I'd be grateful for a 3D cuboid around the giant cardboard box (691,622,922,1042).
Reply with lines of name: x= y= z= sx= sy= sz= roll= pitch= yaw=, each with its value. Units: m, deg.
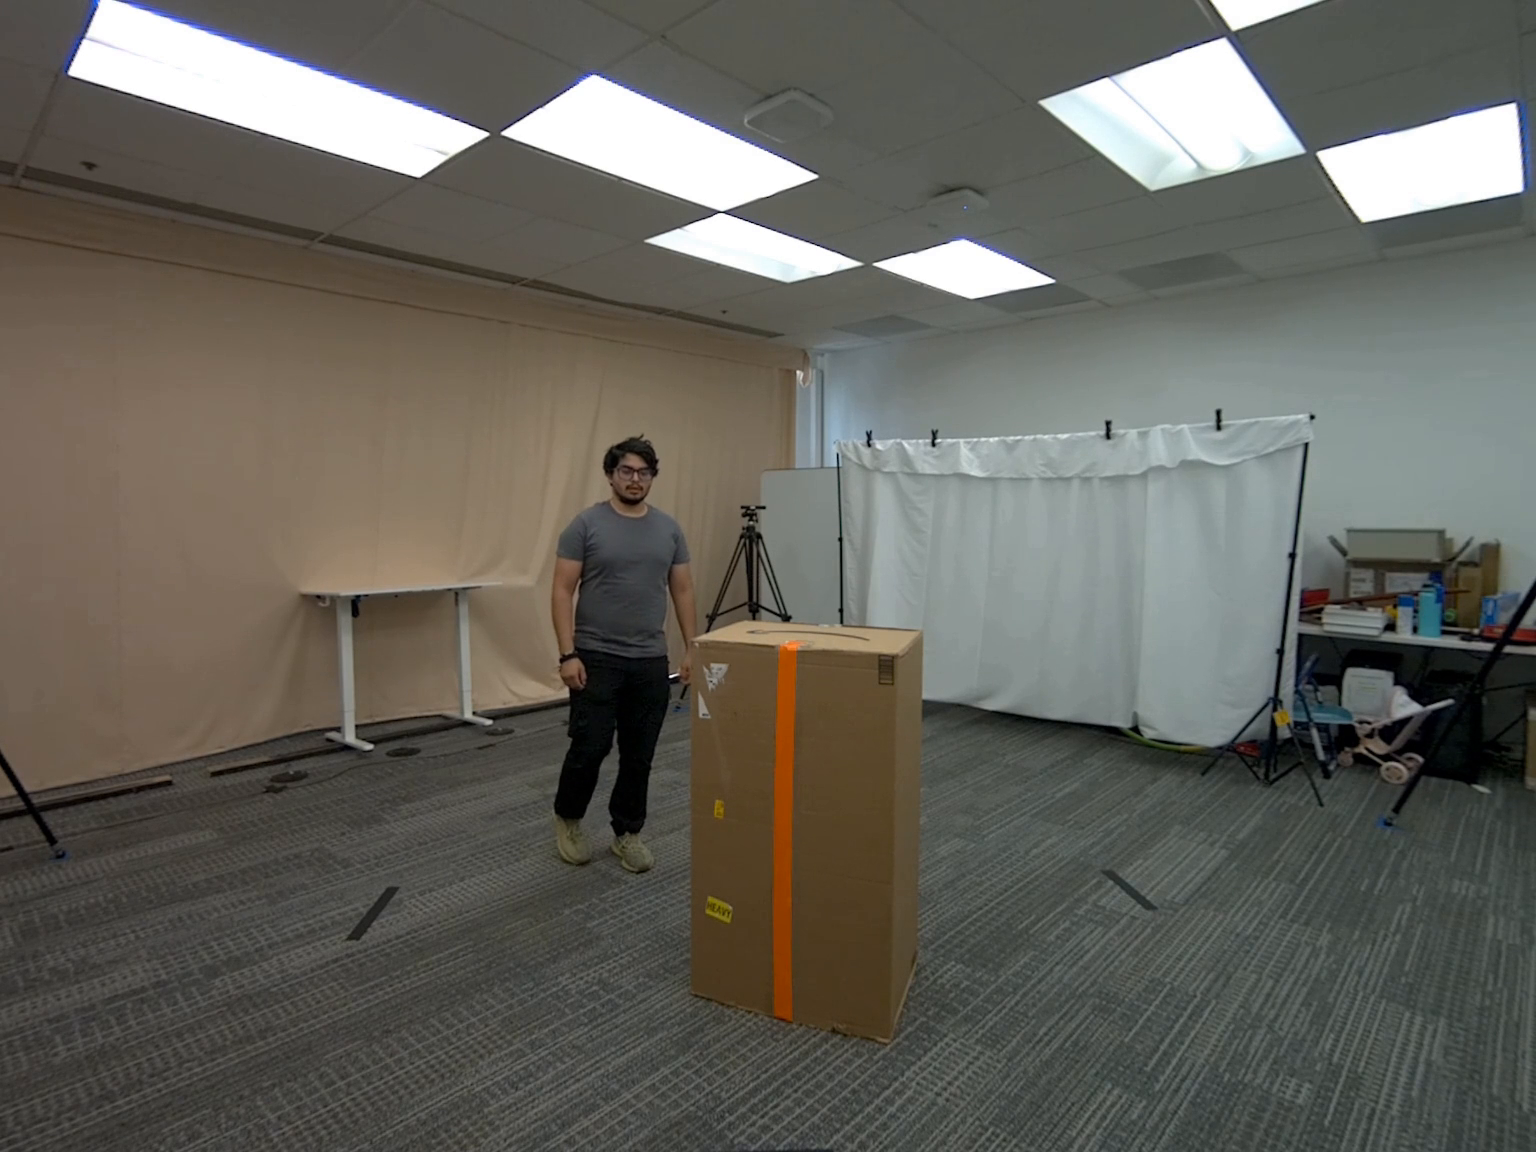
giant cardboard box: x=0.125 y=0.680 z=2.448 sx=0.591 sy=1.024 sz=0.417 roll=2 pitch=3 yaw=23
